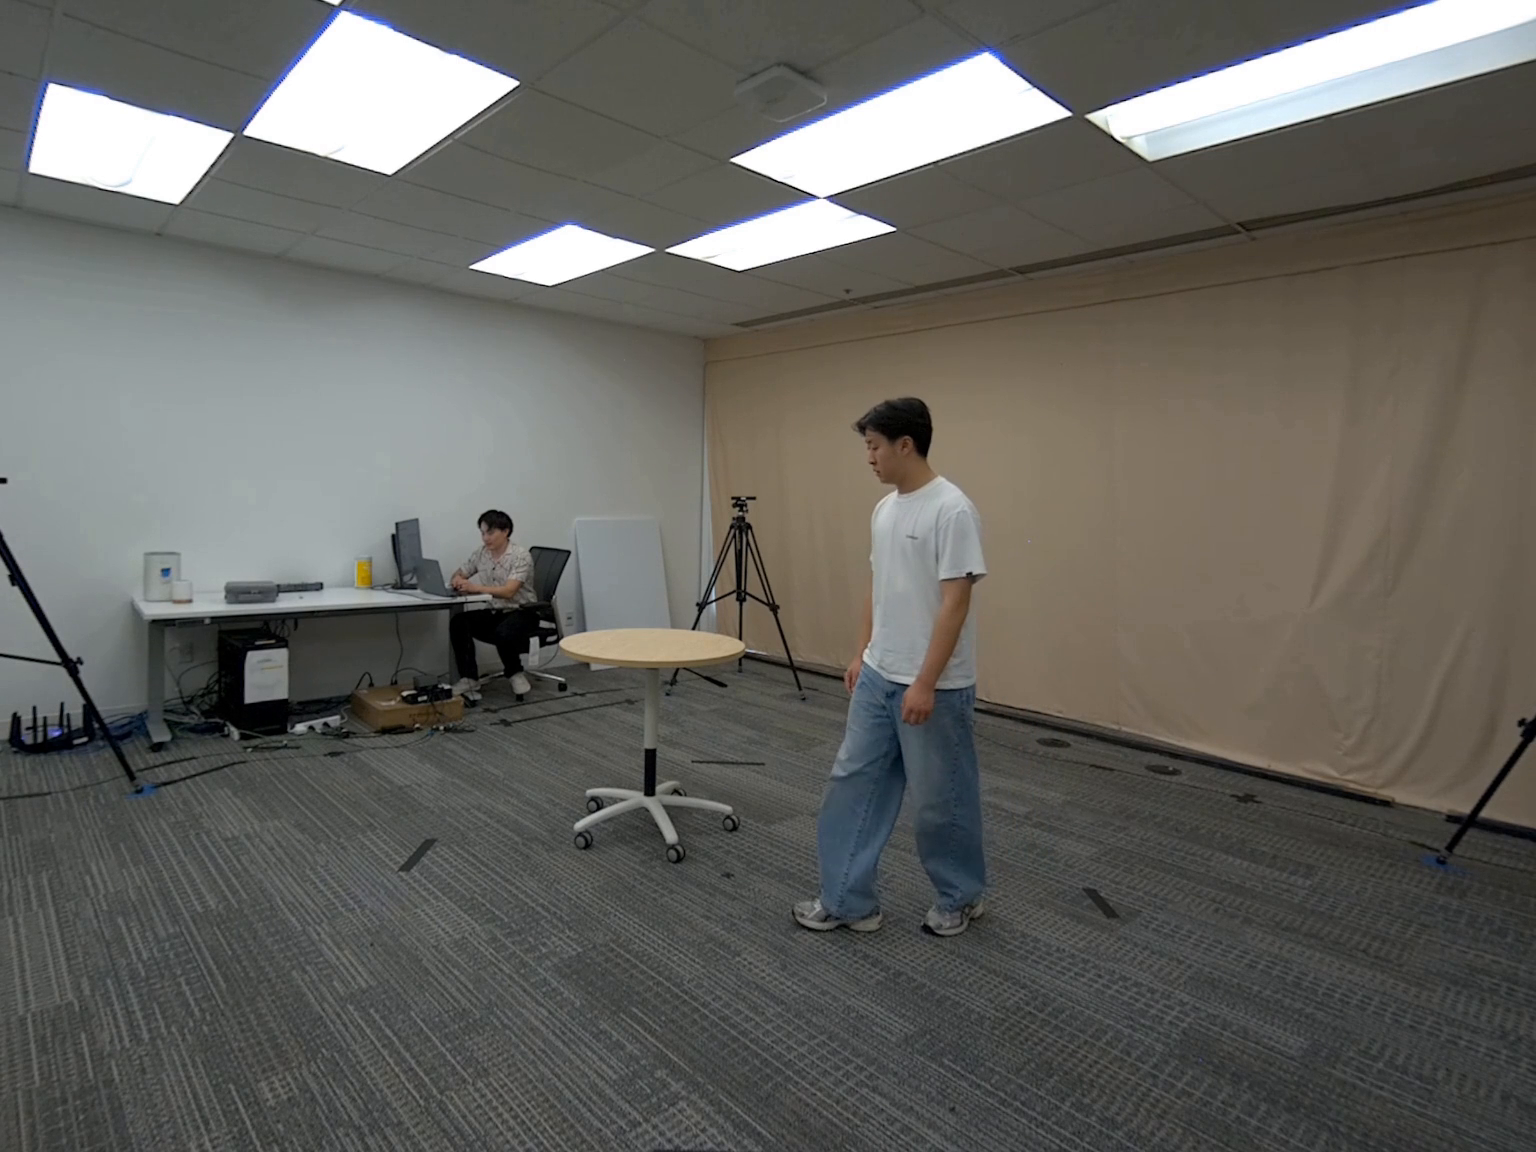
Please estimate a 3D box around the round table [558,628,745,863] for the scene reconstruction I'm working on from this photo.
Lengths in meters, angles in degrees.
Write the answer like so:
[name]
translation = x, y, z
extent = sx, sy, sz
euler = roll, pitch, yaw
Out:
[round table]
translation = -0.495, 0.672, 3.509
extent = 0.763, 0.792, 0.766
euler = 1, 4, -1
